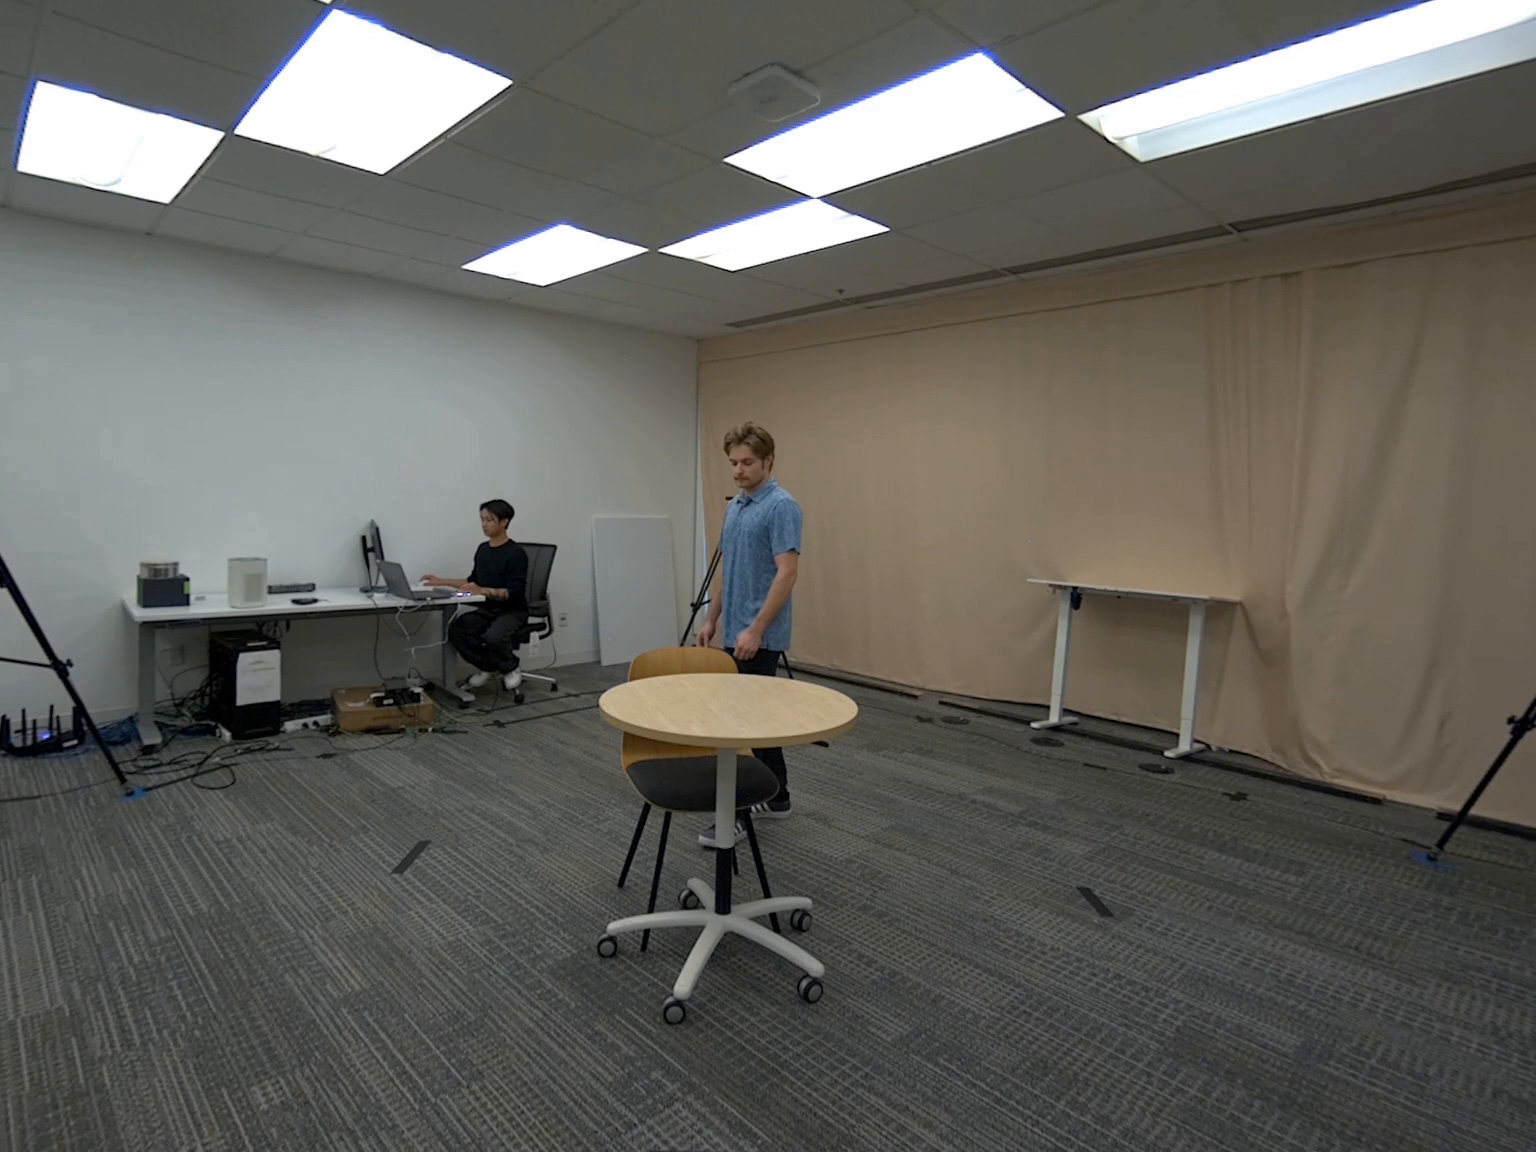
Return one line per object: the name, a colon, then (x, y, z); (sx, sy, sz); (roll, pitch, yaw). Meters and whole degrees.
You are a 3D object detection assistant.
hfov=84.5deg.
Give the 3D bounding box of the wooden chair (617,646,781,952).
wooden chair: (-0.246, 0.703, 2.811); (0.471, 0.878, 0.530); (1, -1, -19)
